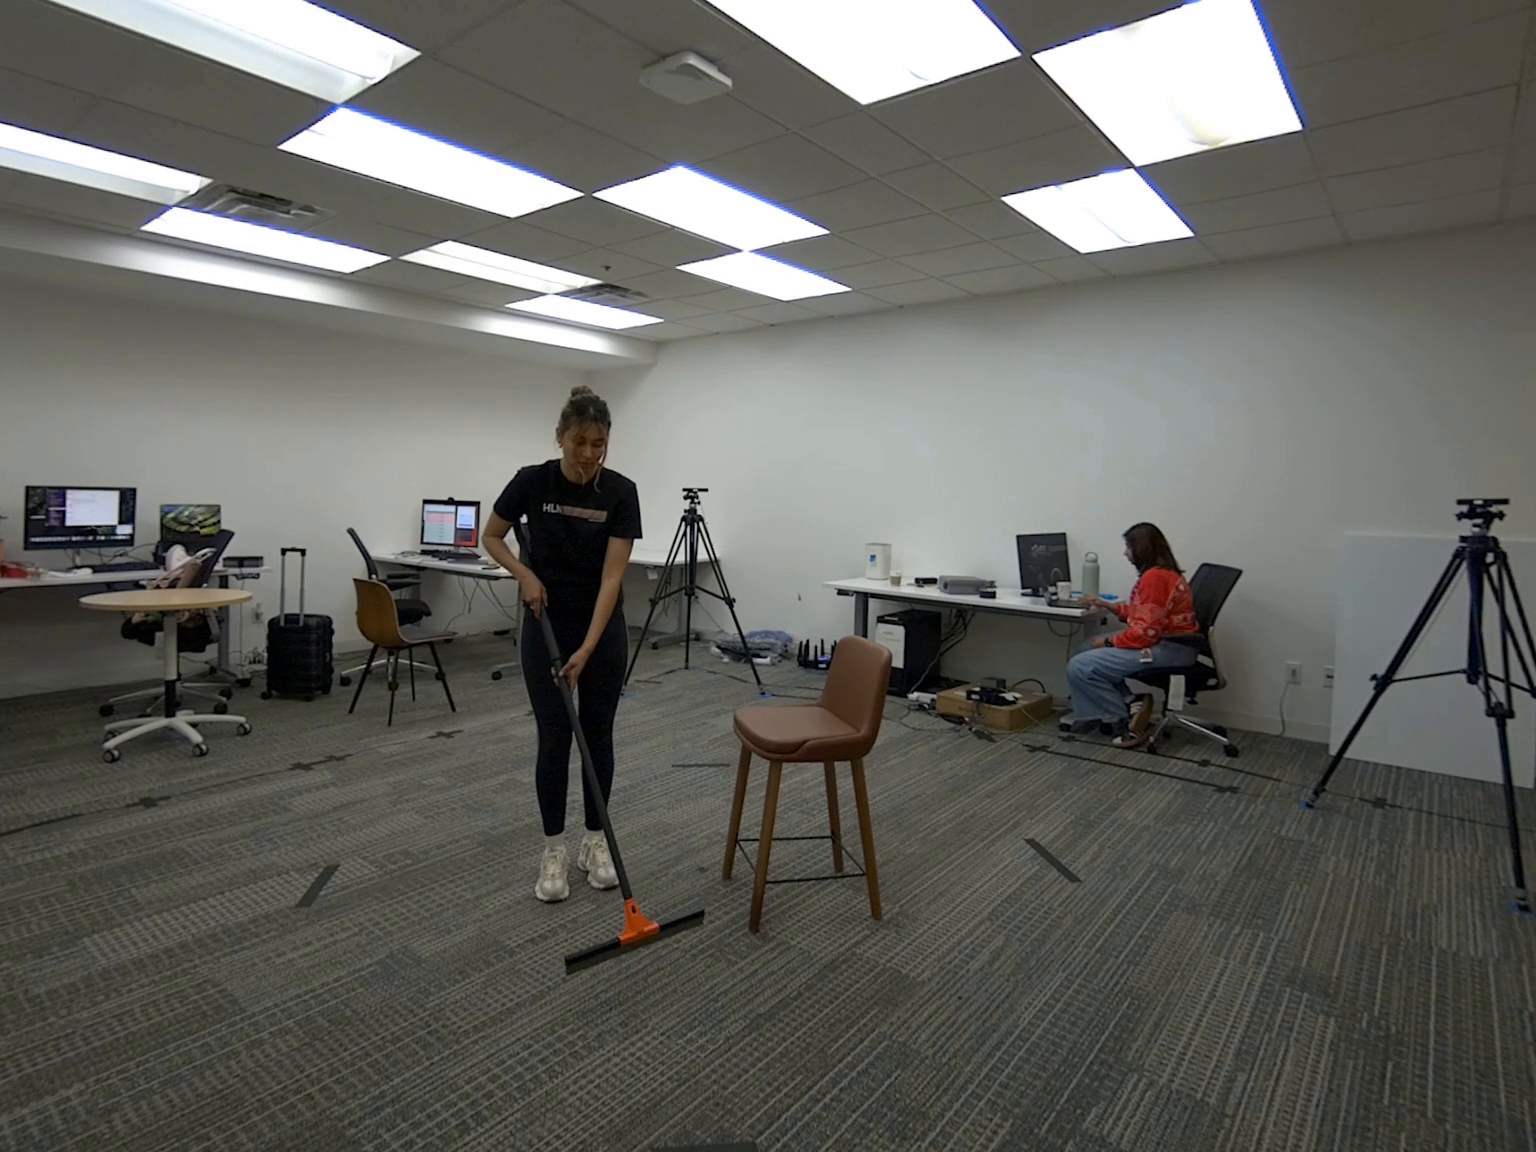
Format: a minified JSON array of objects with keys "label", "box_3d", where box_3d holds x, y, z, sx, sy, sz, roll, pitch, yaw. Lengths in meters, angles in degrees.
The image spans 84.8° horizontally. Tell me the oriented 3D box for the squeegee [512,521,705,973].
[{"label":"squeegee","box_3d":[-0.637,0.398,2.695,0.426,1.586,0.053,-6,-31,-34]}]
